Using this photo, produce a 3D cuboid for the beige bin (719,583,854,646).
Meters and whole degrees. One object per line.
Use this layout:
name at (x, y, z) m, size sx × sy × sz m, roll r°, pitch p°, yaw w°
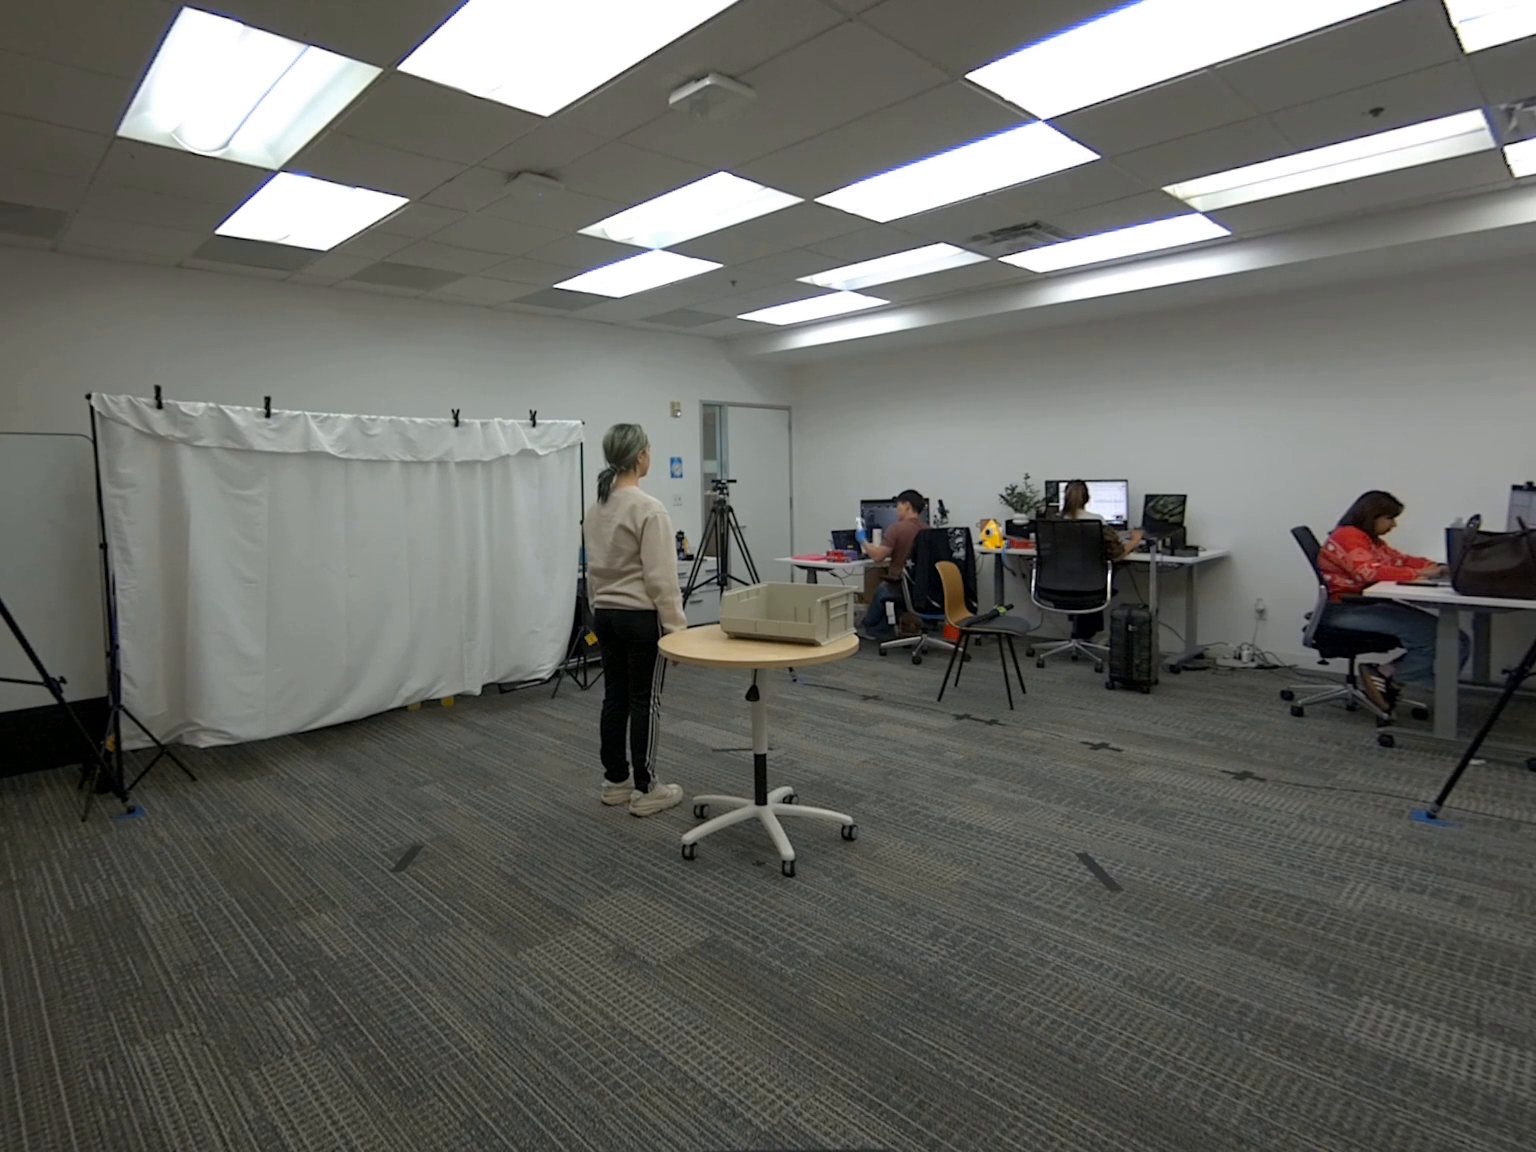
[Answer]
beige bin at (0.087, 0.145, 3.324) m, size 0.433 × 0.188 × 0.369 m, roll 2°, pitch 5°, yaw 31°
